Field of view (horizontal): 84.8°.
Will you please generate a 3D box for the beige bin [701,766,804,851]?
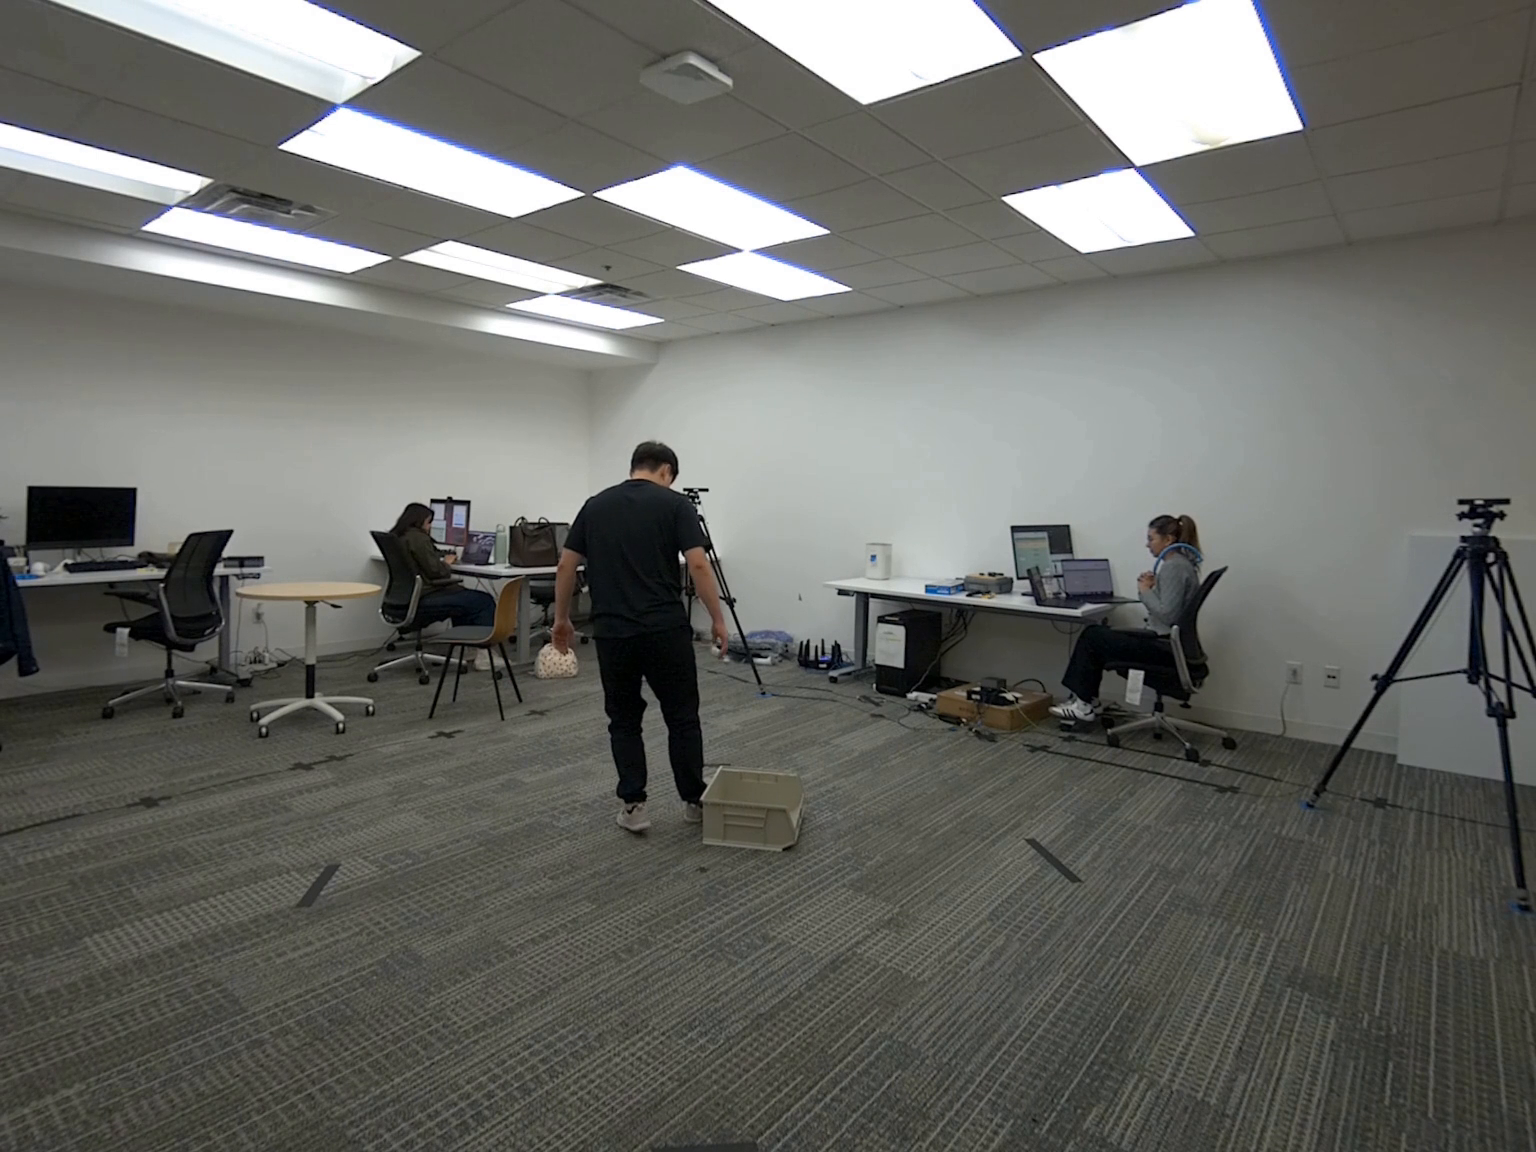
[{"bbox_3d":[-0.063,0.948,3.495,0.381,0.188,0.420,1,6,9],"label":"beige bin"}]
